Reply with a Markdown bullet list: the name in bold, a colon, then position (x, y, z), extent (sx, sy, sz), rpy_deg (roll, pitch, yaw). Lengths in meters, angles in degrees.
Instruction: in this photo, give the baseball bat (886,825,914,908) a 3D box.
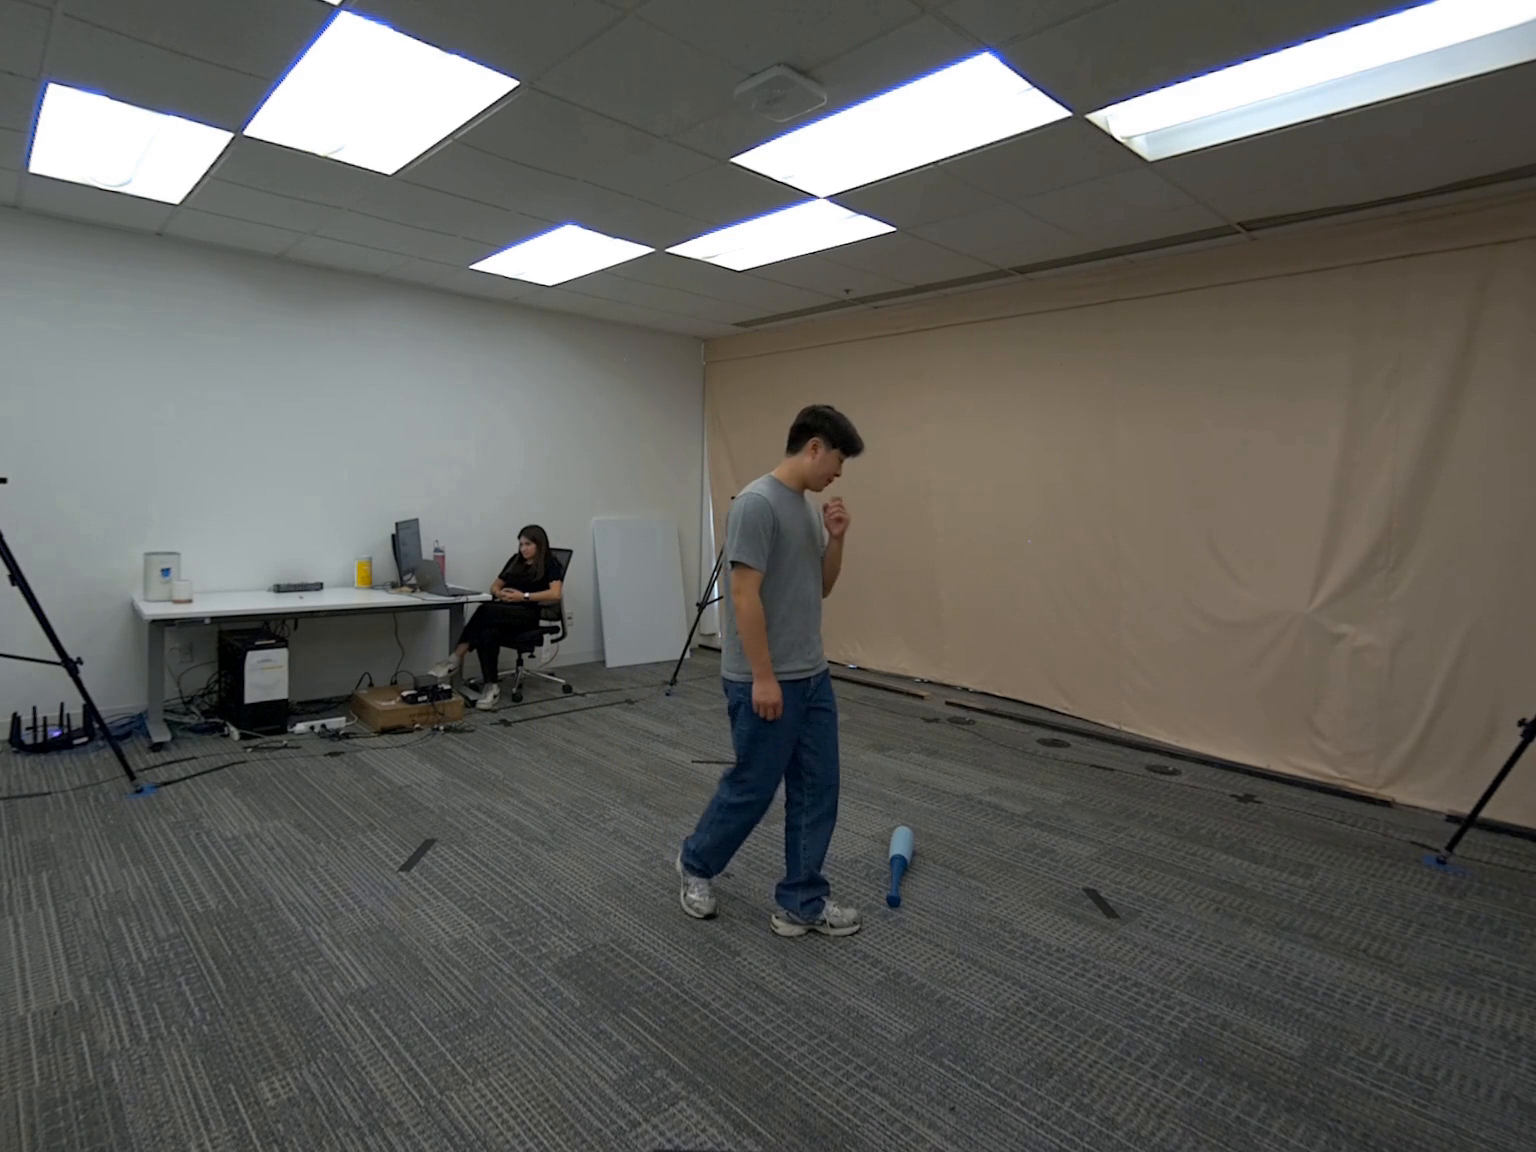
- **baseball bat**: position (0.483, 1.080, 3.137), extent (0.090, 0.088, 0.540), rpy_deg (2, 8, 10)
